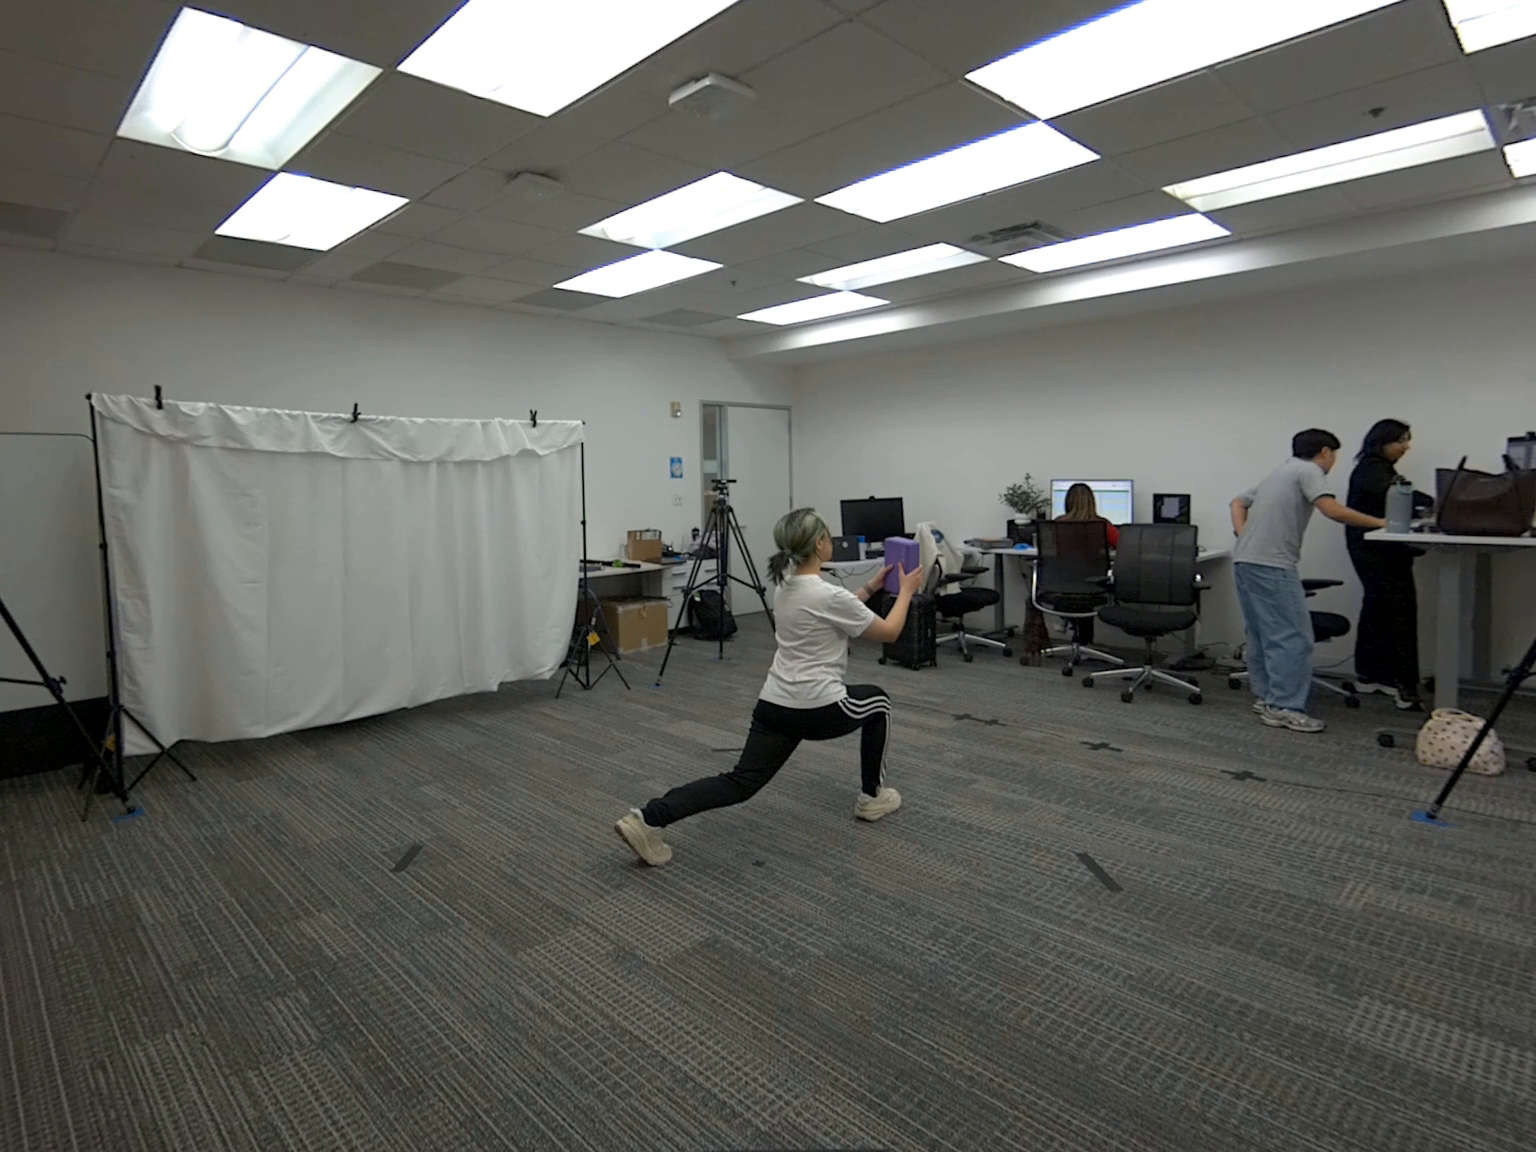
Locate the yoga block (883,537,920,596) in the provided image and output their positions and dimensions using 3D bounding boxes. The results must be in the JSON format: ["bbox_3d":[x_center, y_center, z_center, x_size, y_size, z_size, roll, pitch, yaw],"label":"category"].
[{"bbox_3d":[0.567,-0.043,3.615,0.074,0.227,0.154,-5,12,-31],"label":"yoga block"}]
